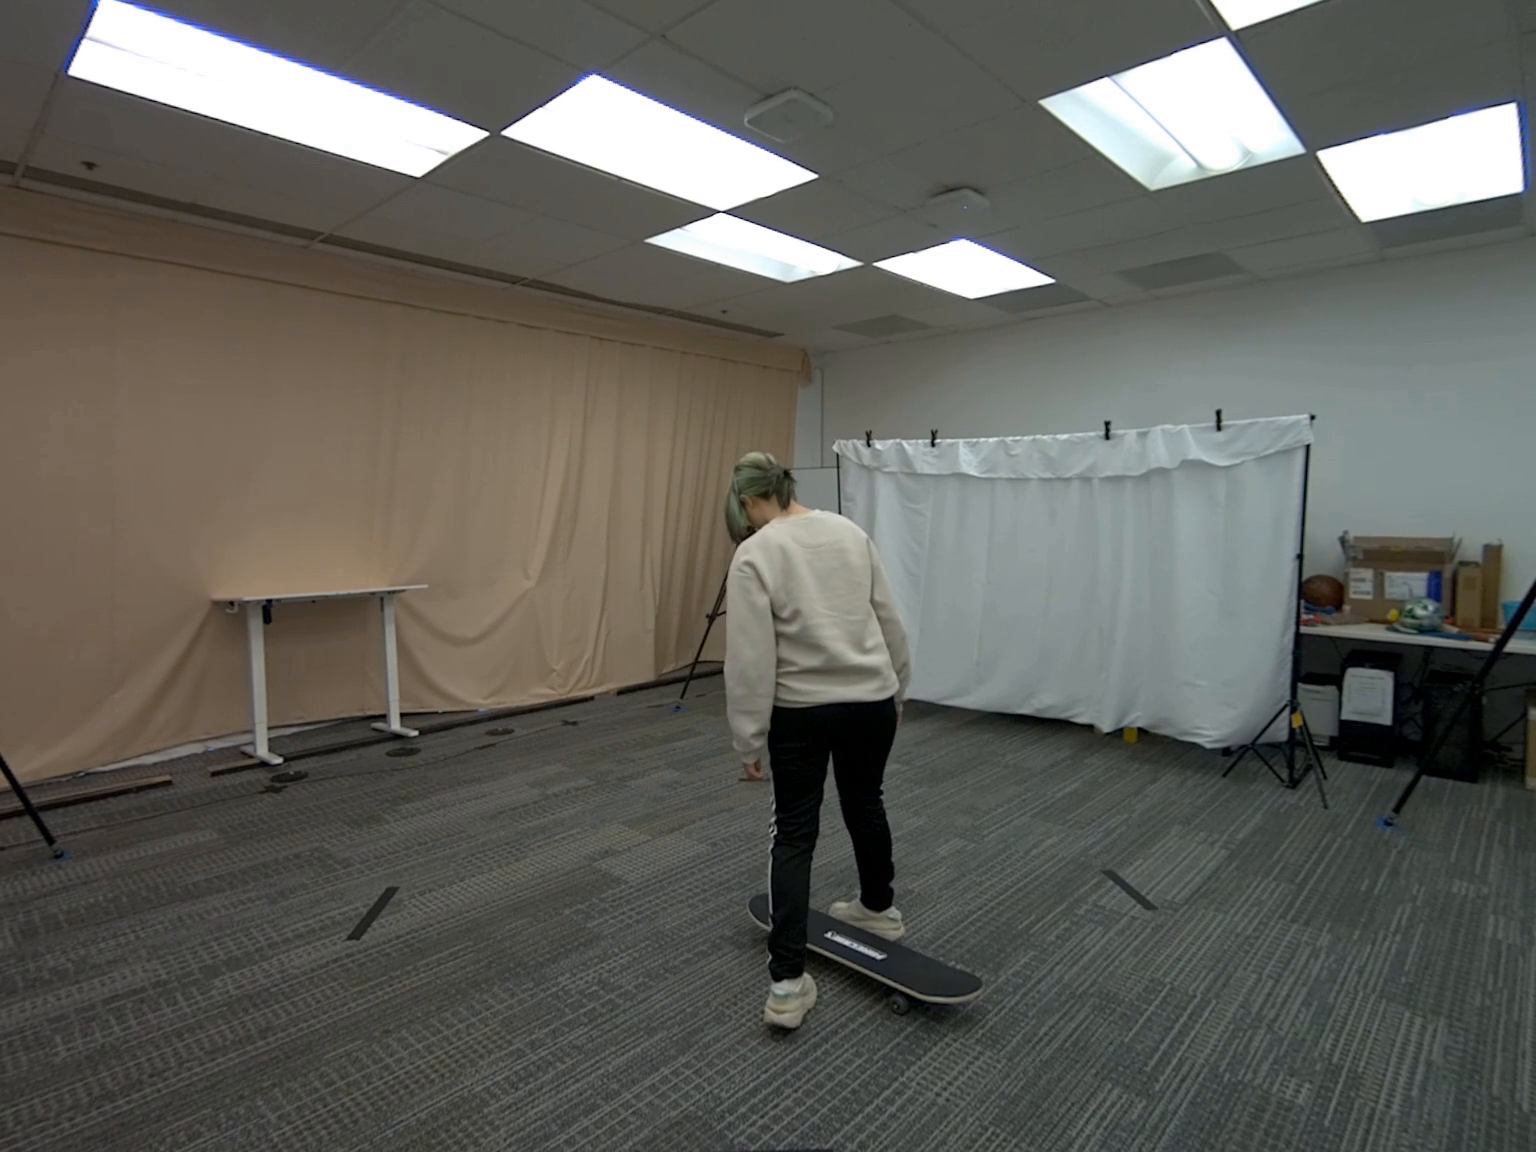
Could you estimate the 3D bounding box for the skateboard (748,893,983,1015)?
[{"bbox_3d":[0.262,1.121,2.503,0.812,0.110,0.187,4,5,41],"label":"skateboard"}]
